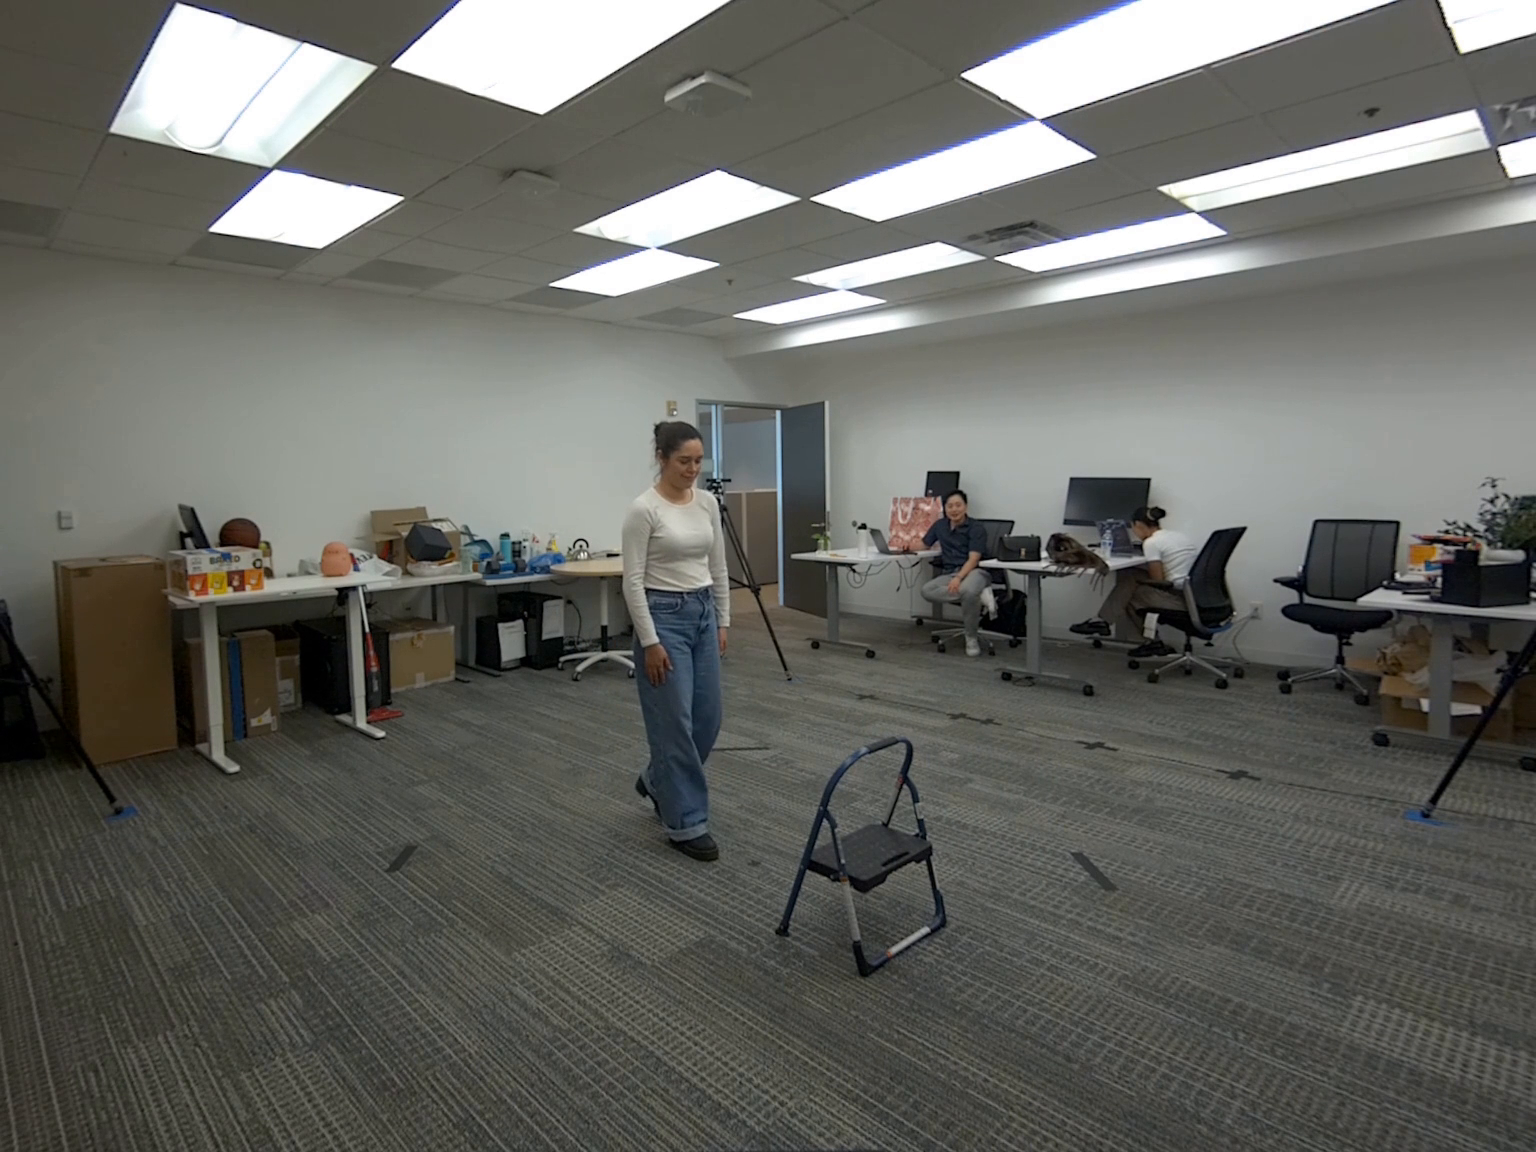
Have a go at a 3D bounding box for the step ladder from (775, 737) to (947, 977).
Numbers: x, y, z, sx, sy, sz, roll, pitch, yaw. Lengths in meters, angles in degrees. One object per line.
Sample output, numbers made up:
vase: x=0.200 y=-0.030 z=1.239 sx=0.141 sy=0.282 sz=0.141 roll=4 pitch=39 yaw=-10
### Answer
step ladder: x=0.290 y=0.792 z=2.625 sx=0.360 sy=0.604 sz=0.419 roll=3 pitch=6 yaw=45
